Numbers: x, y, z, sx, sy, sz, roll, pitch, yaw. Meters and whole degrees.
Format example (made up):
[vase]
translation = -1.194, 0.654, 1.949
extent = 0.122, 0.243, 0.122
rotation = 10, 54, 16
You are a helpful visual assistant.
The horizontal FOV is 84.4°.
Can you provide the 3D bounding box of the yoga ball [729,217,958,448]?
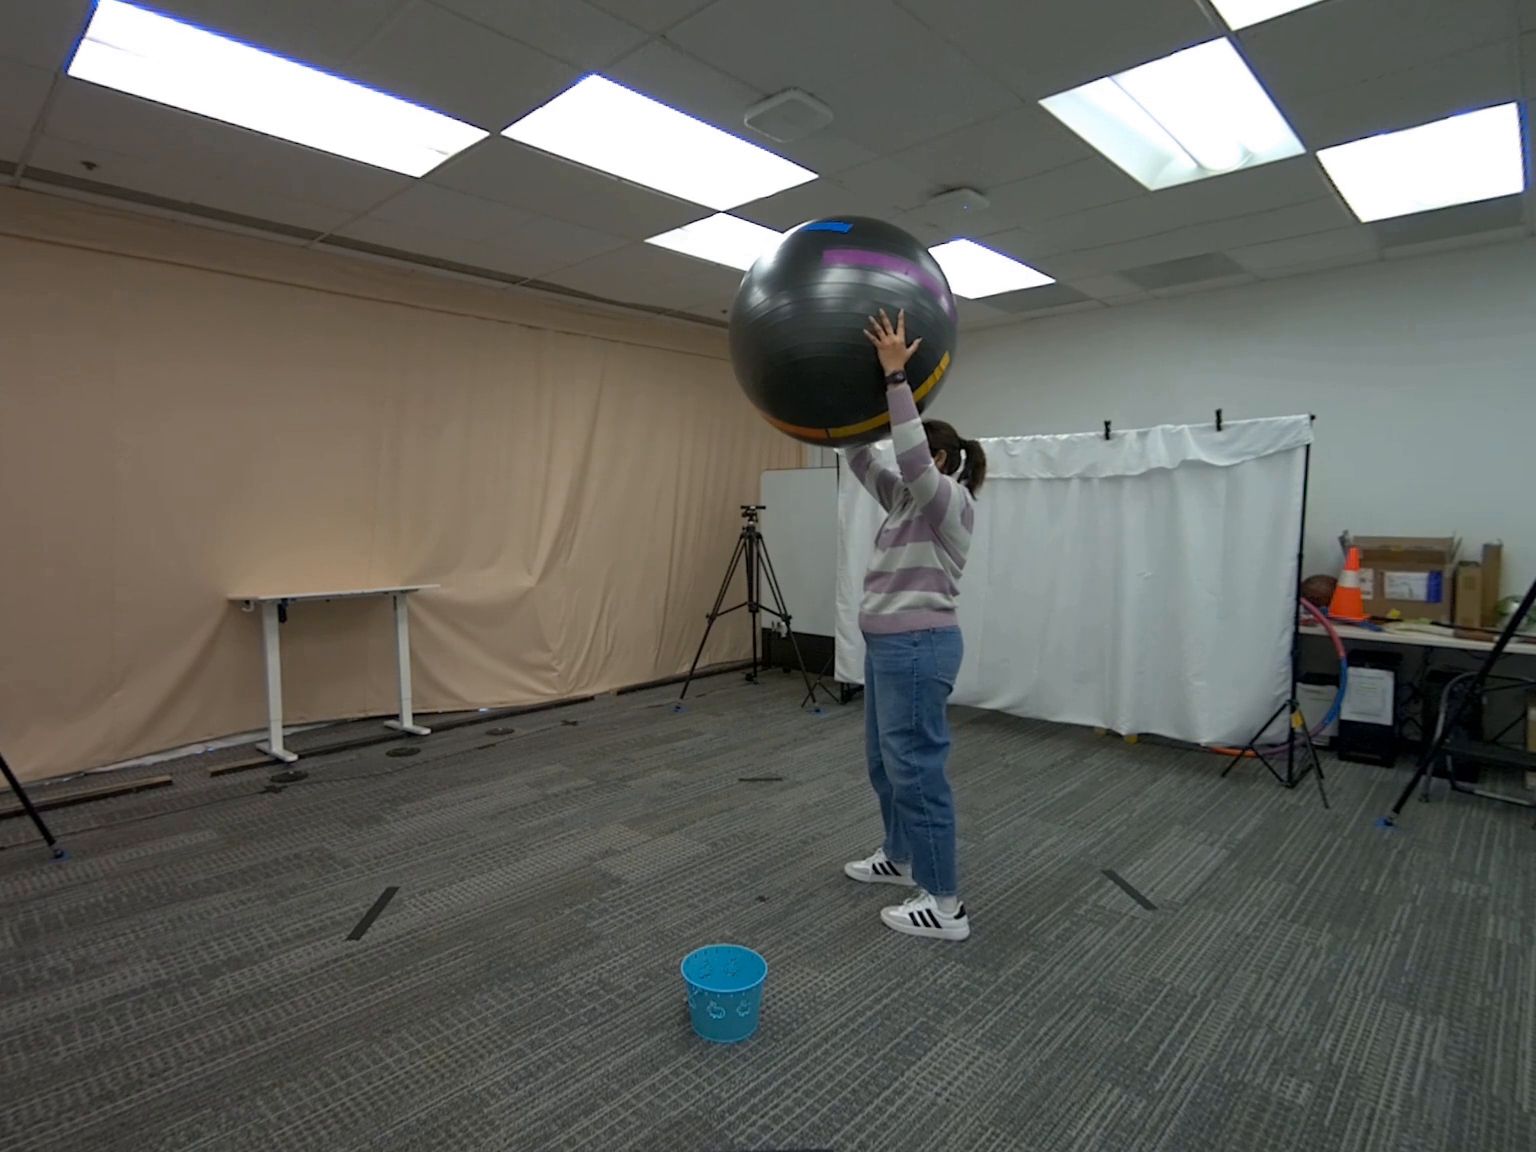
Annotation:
[yoga ball]
translation = 0.249, -0.808, 2.837
extent = 0.757, 0.756, 0.761
rotation = 0, 4, -2
